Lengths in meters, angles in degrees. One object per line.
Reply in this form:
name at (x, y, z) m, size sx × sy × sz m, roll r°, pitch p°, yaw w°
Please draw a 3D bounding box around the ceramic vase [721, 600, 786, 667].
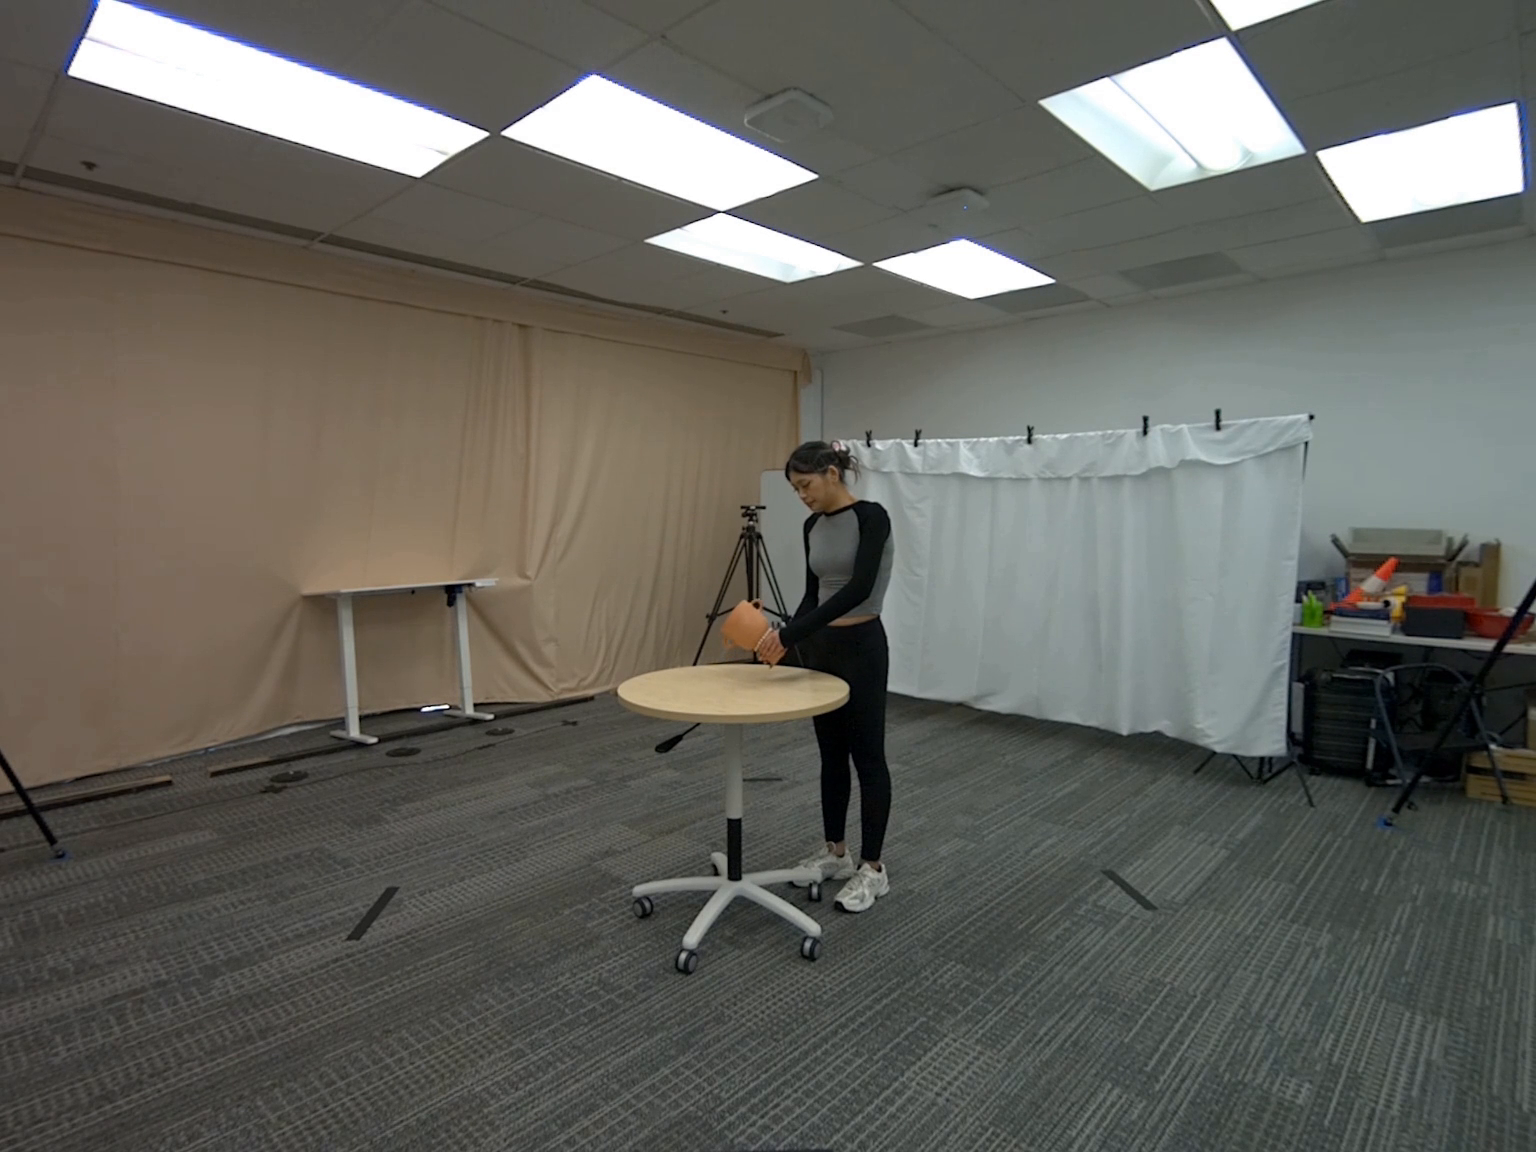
ceramic vase at (-0.039, 0.203, 2.873) m, size 0.222 × 0.159 × 0.133 m, roll 38°, pitch 40°, yaw 8°
